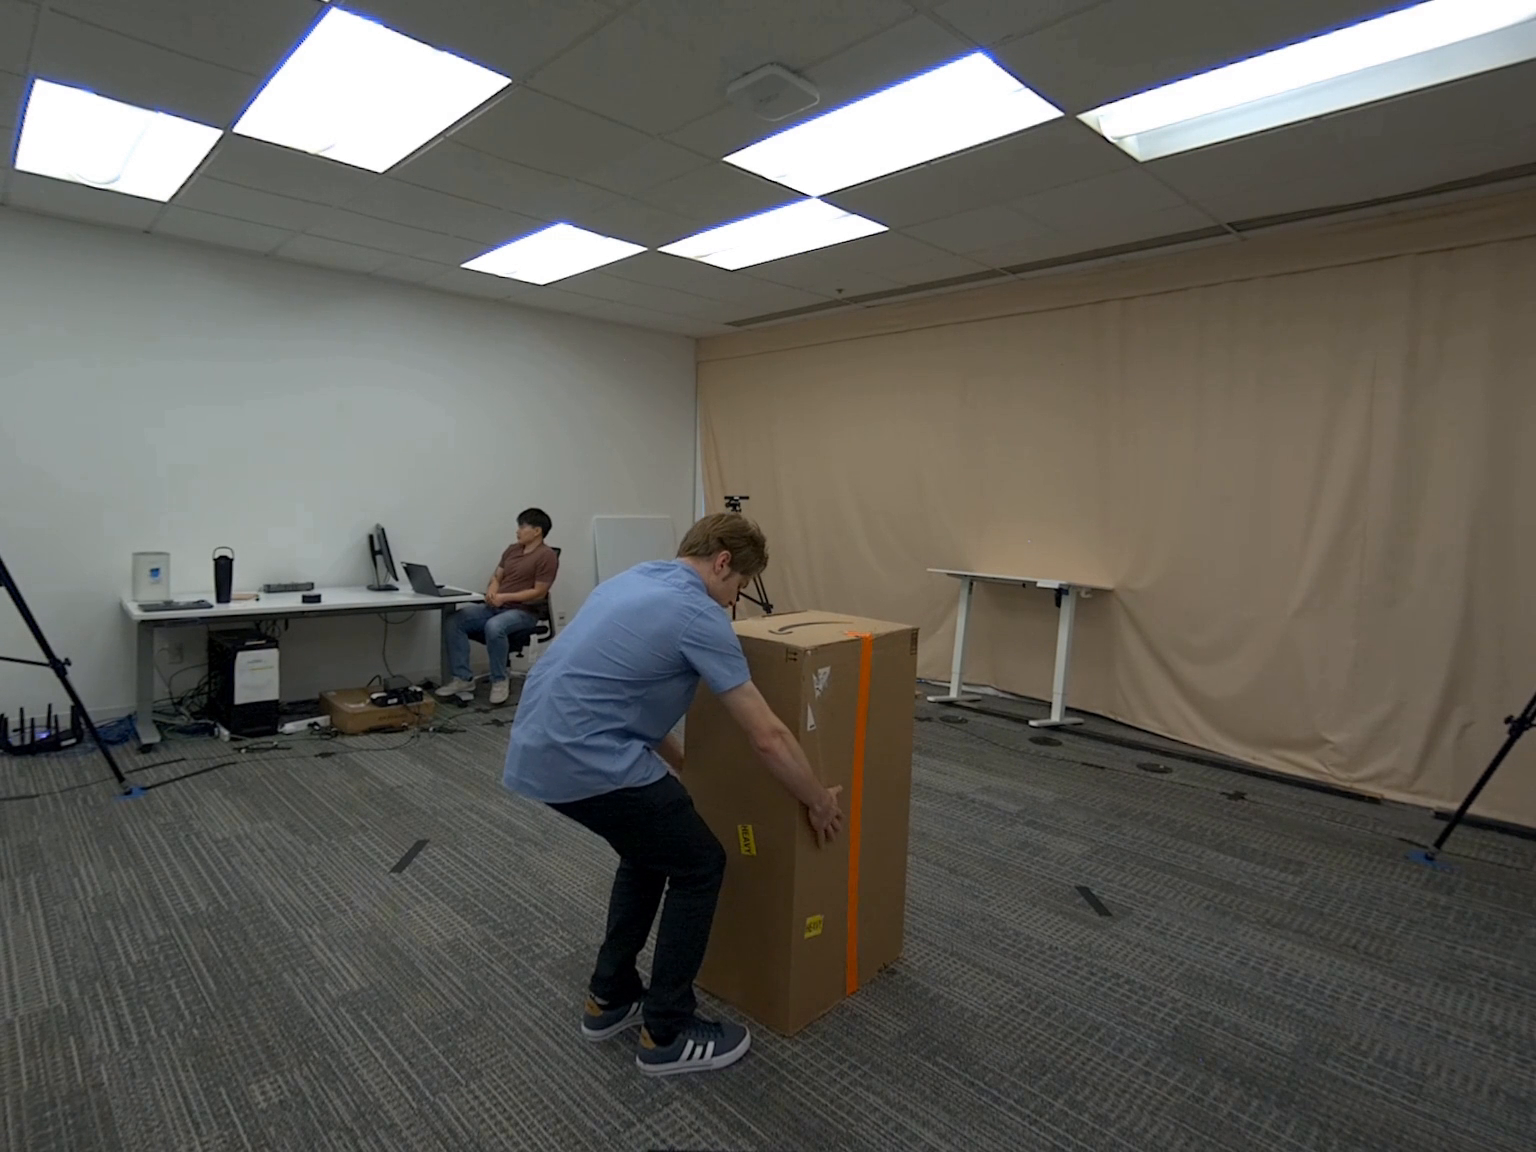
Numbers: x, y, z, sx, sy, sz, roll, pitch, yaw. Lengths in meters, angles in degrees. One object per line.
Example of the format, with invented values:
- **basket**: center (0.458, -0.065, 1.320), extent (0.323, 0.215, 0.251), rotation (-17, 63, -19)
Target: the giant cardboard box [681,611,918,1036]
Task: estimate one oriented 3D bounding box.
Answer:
- **giant cardboard box**: center (0.096, 0.660, 2.490), extent (0.437, 1.023, 0.564), rotation (5, 5, 41)
